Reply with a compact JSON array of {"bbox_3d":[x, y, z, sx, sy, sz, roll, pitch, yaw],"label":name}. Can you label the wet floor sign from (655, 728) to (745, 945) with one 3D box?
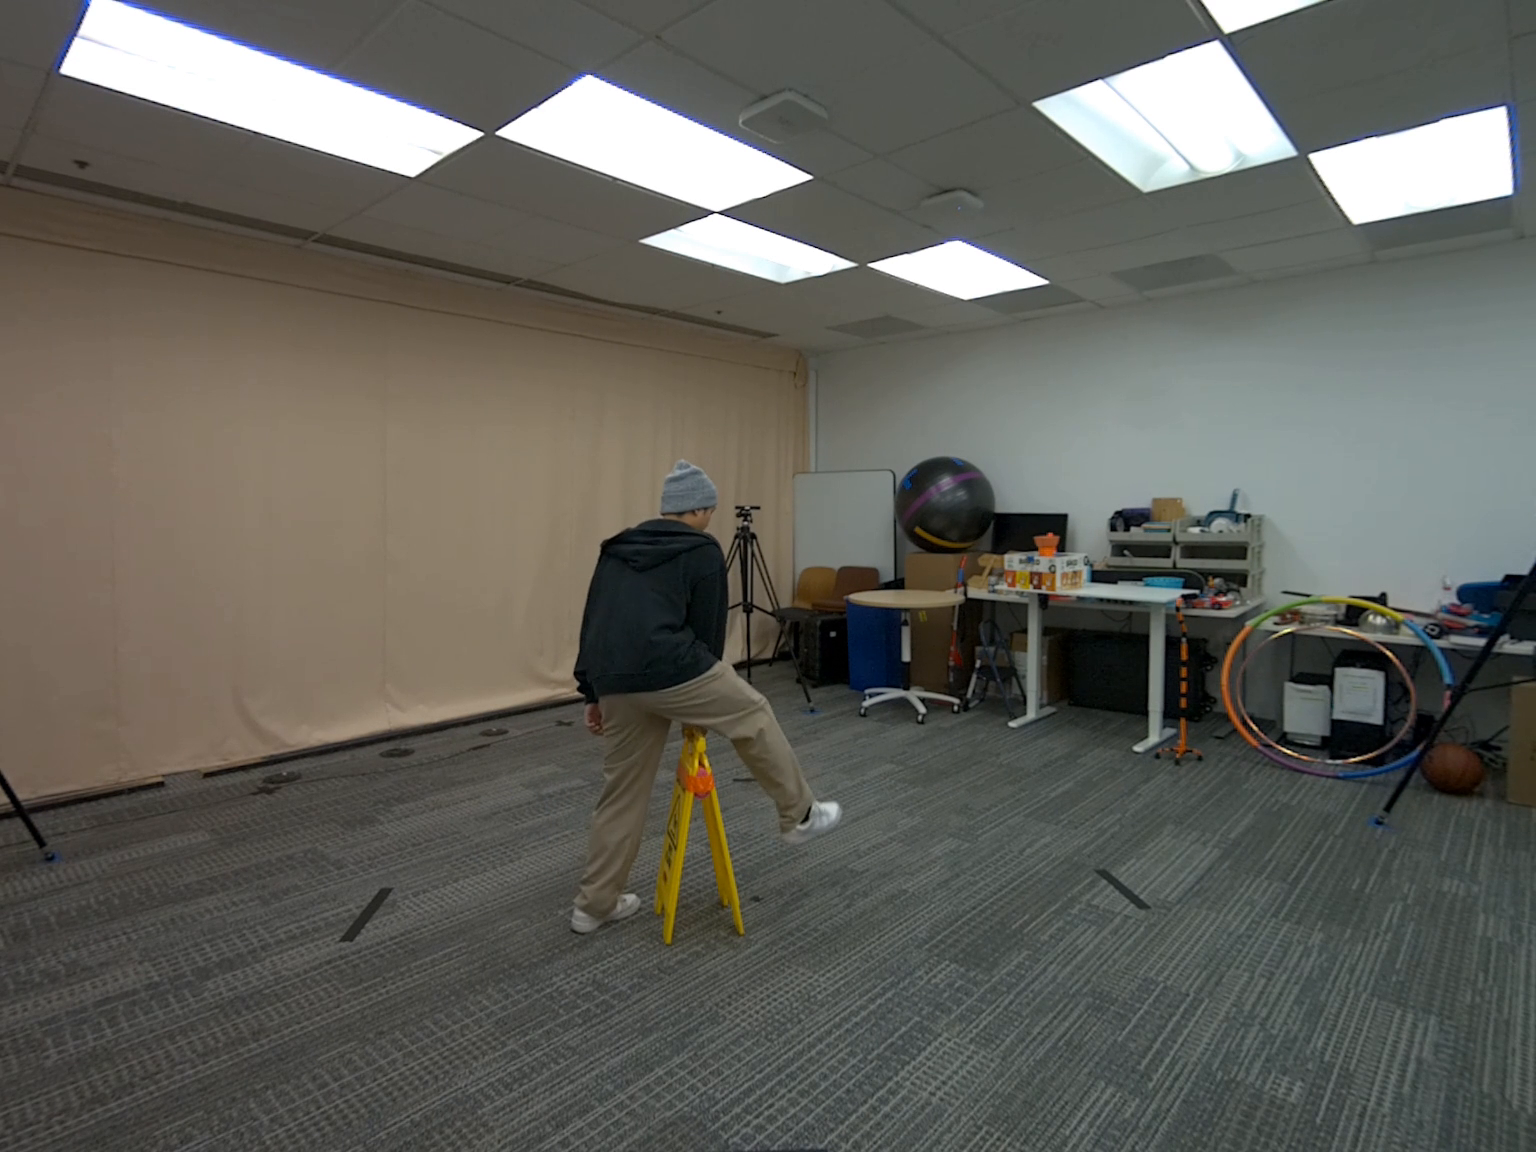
[{"bbox_3d":[-0.242,0.834,2.809,0.285,0.645,0.287,-2,2,-15],"label":"wet floor sign"}]
